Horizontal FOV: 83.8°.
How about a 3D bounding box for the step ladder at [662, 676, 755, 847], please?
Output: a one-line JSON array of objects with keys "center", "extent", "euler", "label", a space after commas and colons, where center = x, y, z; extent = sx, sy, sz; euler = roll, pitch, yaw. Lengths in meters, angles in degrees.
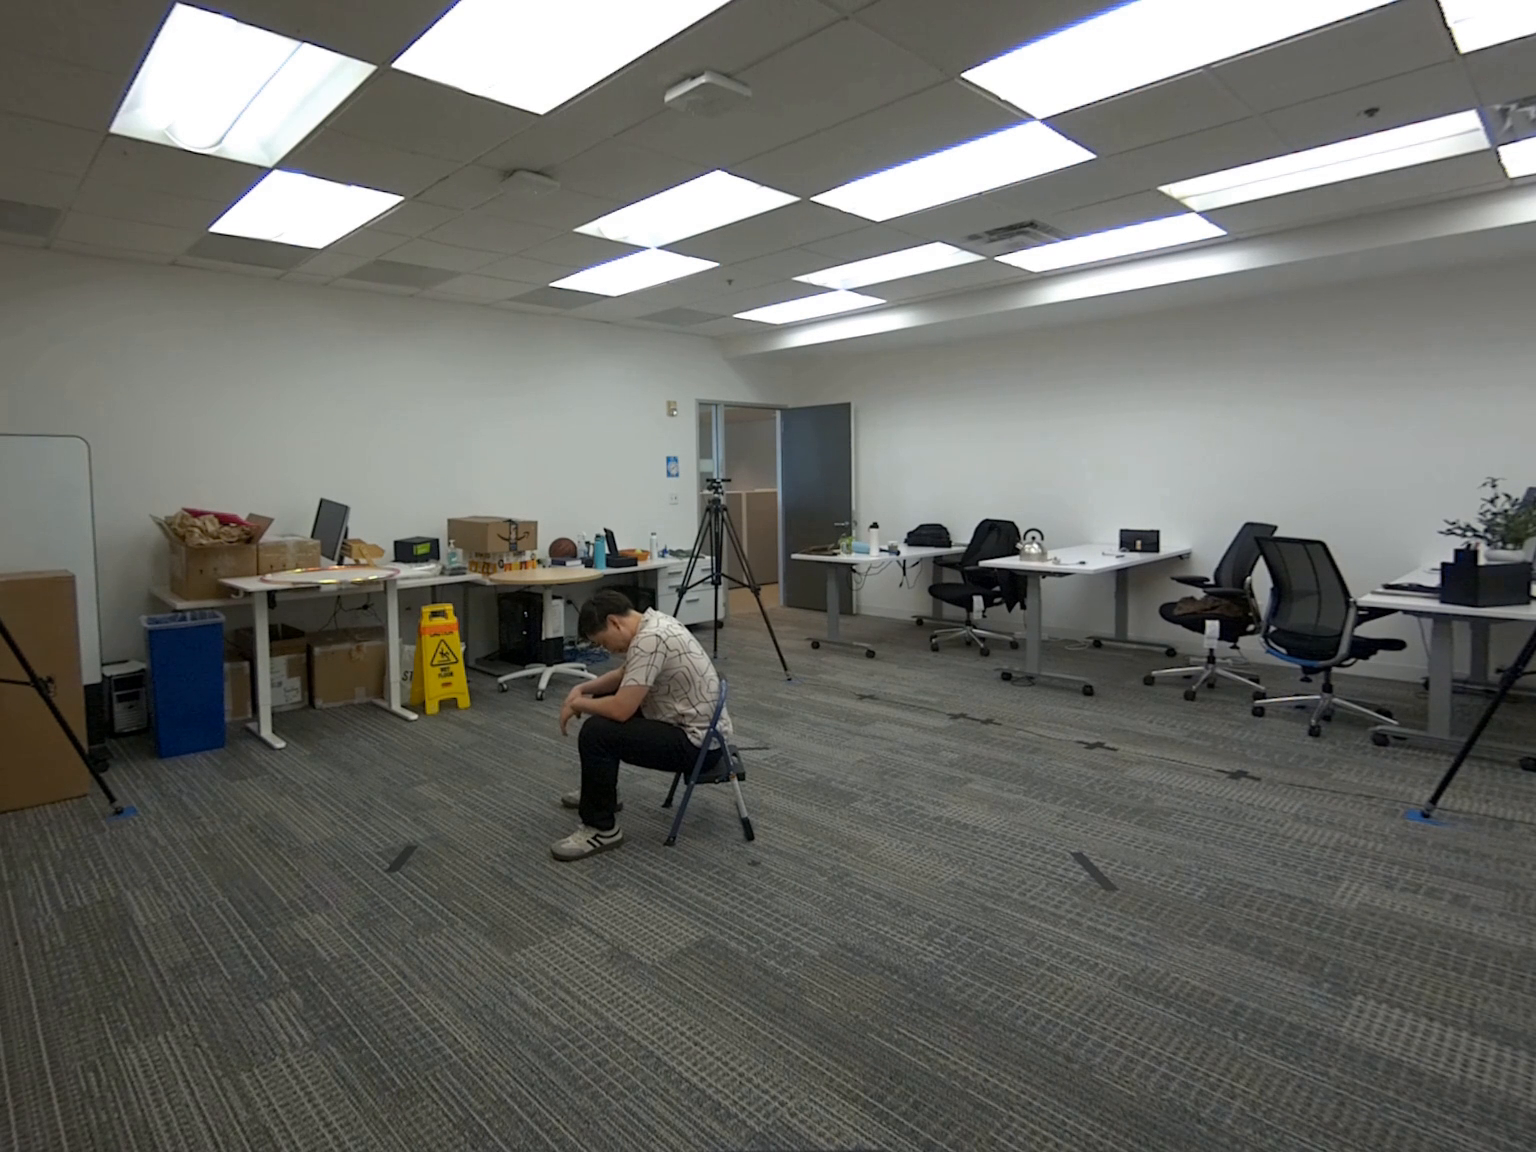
[{"center": [-0.254, 0.707, 3.466], "extent": [0.347, 0.604, 0.435], "euler": [-1, 4, -8], "label": "step ladder"}]
